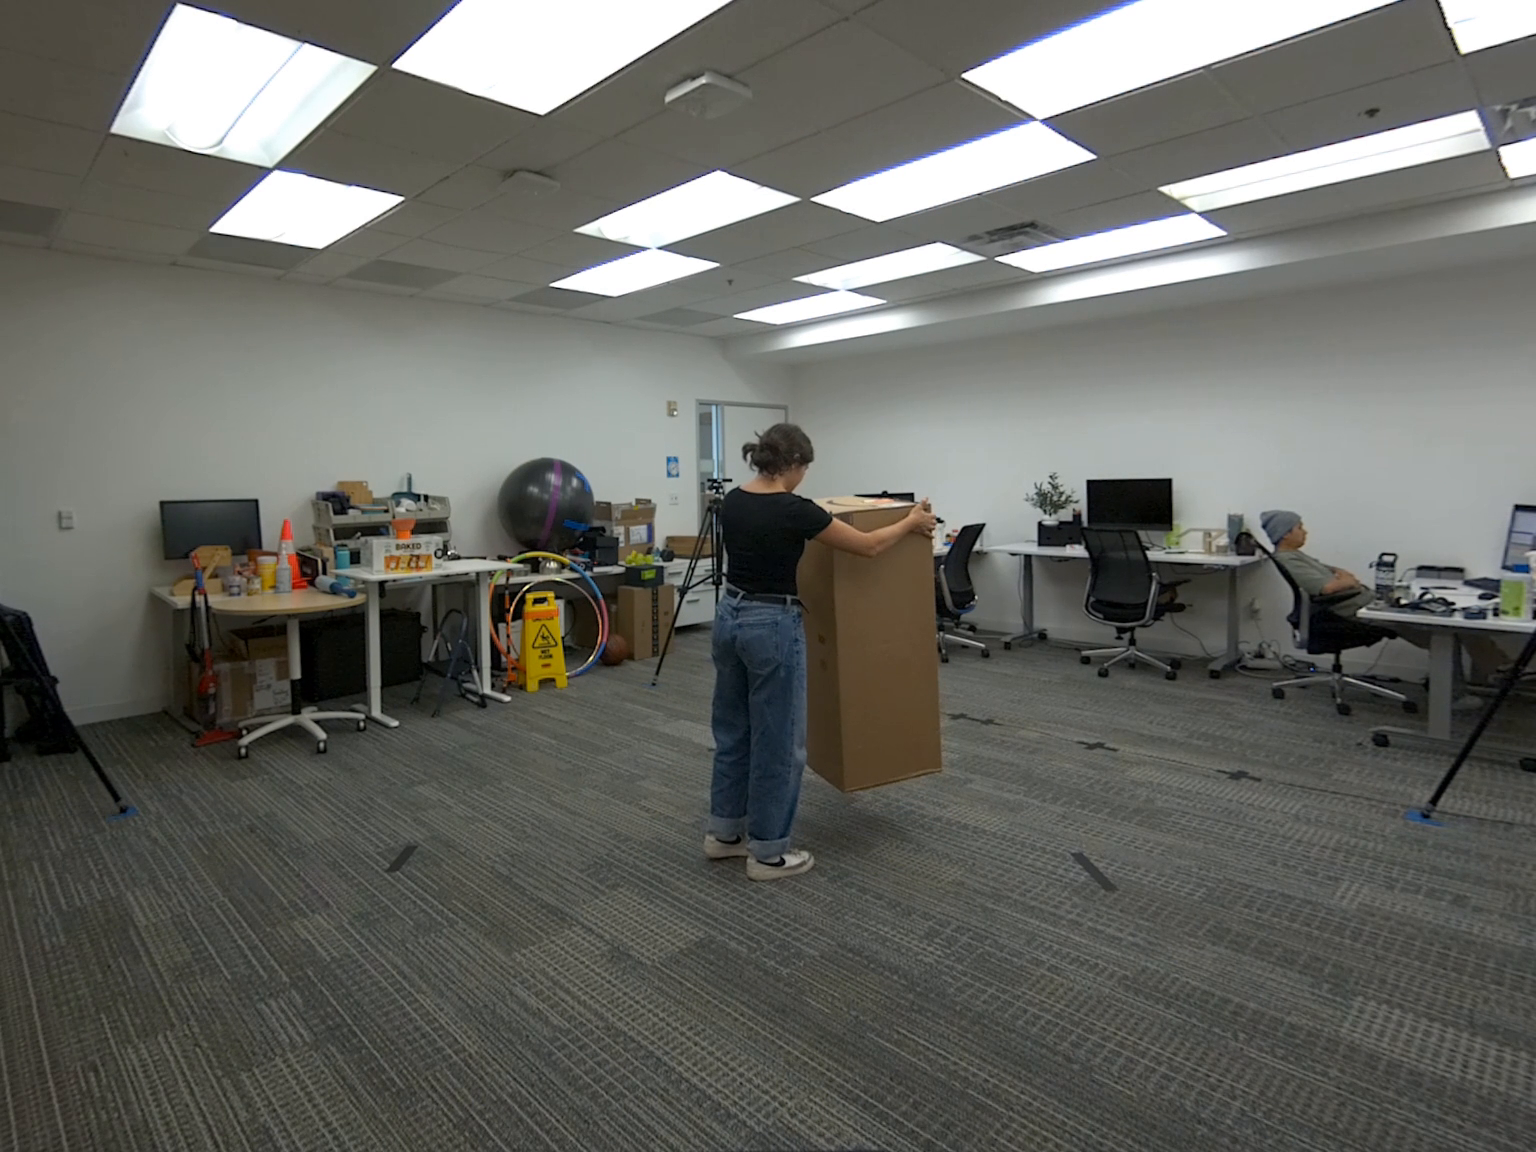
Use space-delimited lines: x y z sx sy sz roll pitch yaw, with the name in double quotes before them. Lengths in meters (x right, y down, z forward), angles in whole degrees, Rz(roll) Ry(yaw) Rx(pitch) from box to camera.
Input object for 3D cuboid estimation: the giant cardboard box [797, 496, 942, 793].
"giant cardboard box" 0.331 0.235 3.373 0.419 1.019 0.592 -6 7 -23
